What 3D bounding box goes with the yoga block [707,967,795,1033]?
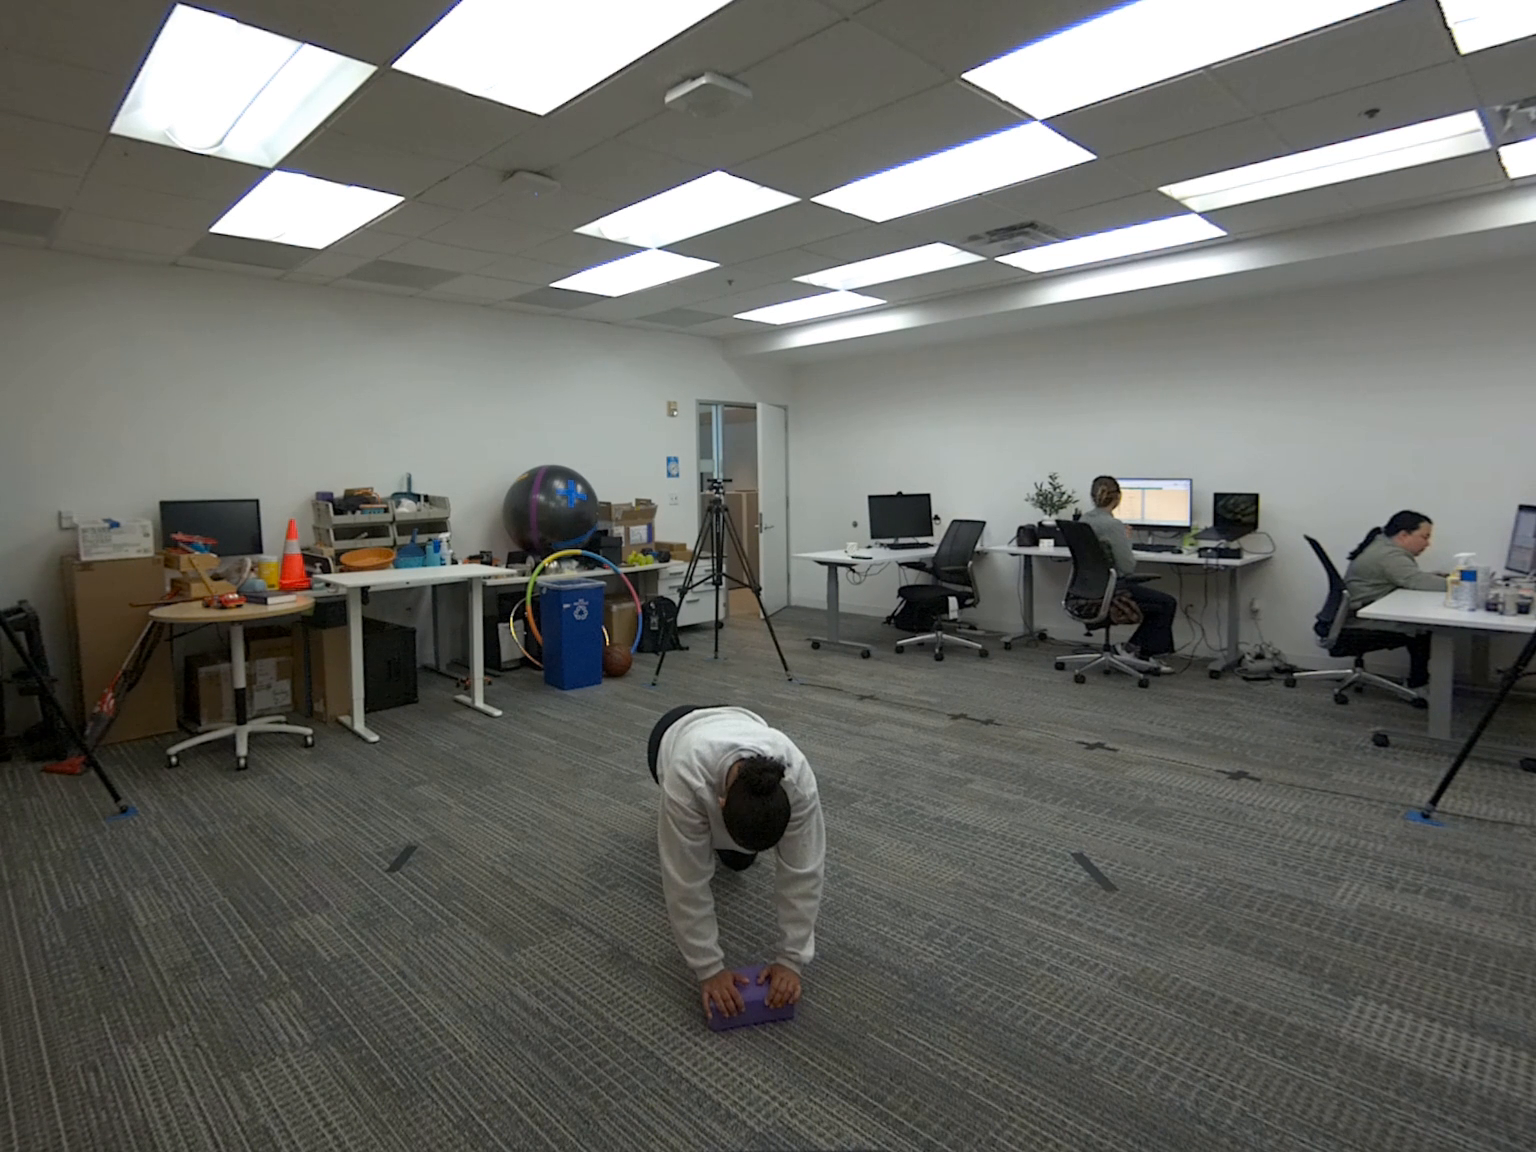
[{"bbox_3d":[-0.050,1.119,2.254,0.226,0.076,0.151,-3,7,-13],"label":"yoga block"}]
